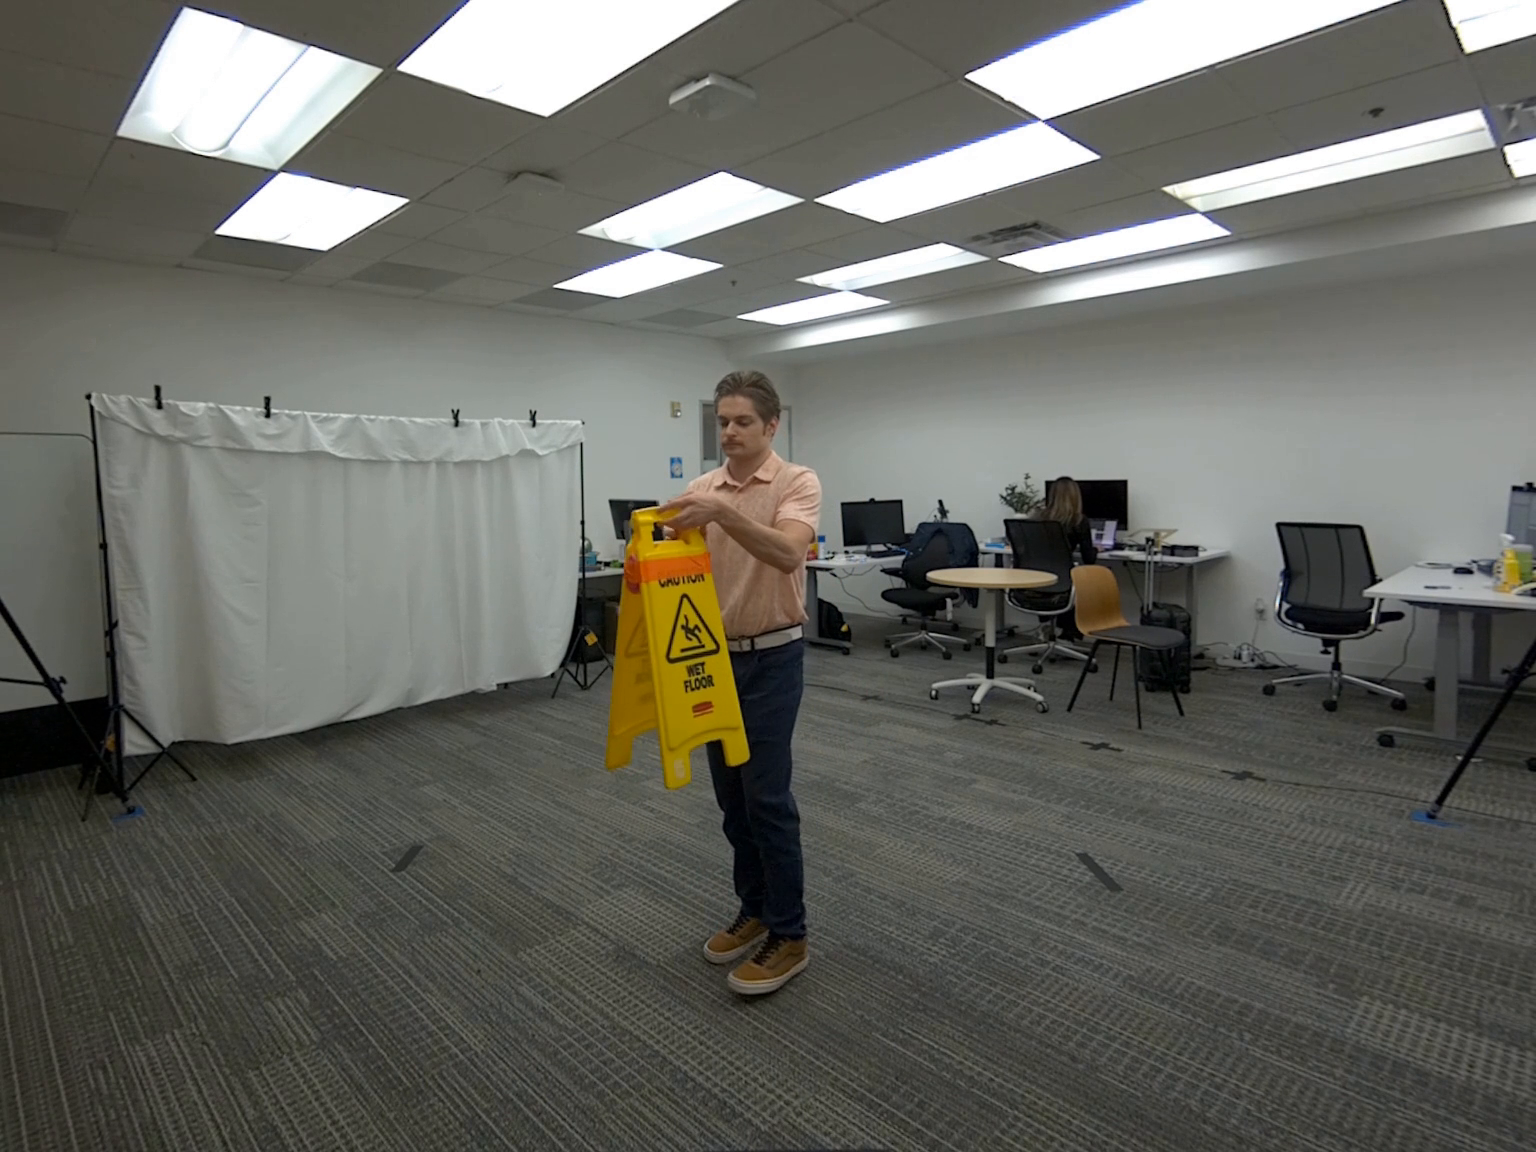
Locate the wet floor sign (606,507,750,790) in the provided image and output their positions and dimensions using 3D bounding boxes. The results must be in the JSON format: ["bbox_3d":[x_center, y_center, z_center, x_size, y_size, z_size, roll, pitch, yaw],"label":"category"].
[{"bbox_3d":[-0.245,0.157,2.133,0.298,0.645,0.275,-1,2,43],"label":"wet floor sign"}]
